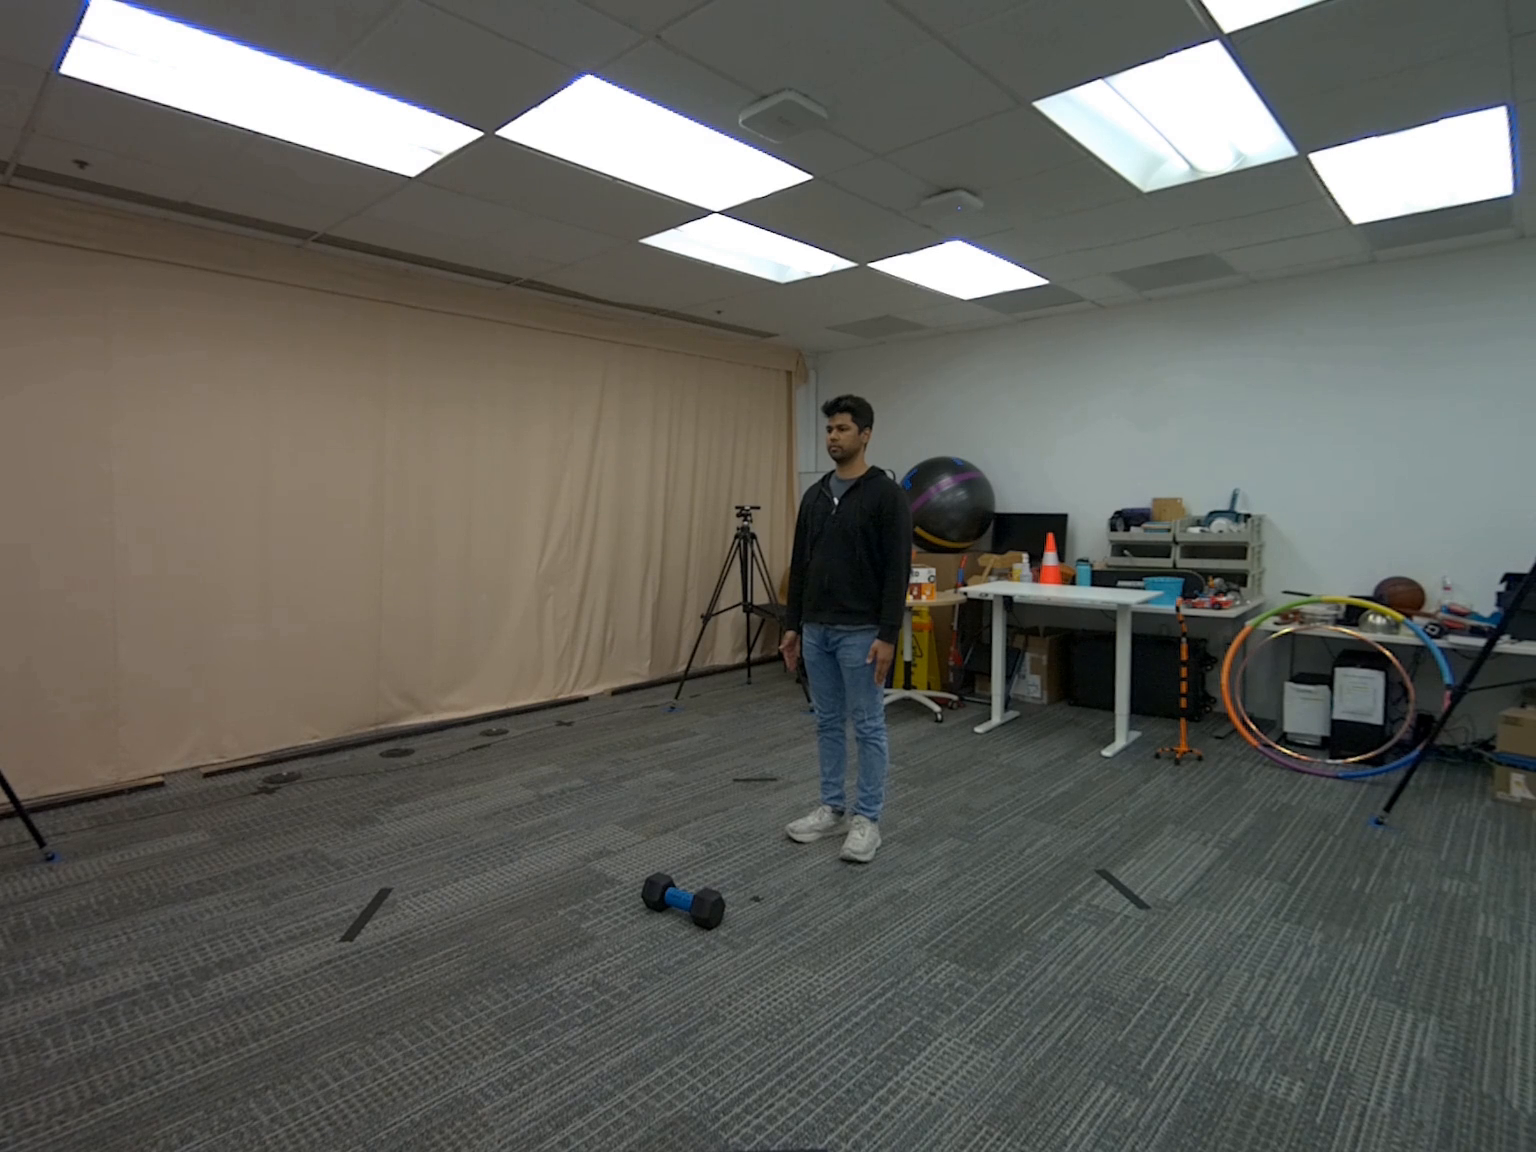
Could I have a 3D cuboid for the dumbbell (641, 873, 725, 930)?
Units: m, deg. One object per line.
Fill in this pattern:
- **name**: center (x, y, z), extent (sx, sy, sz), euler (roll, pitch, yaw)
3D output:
- **dumbbell**: center (-0.285, 1.101, 2.856), extent (0.303, 0.123, 0.105), euler (3, -26, 35)
